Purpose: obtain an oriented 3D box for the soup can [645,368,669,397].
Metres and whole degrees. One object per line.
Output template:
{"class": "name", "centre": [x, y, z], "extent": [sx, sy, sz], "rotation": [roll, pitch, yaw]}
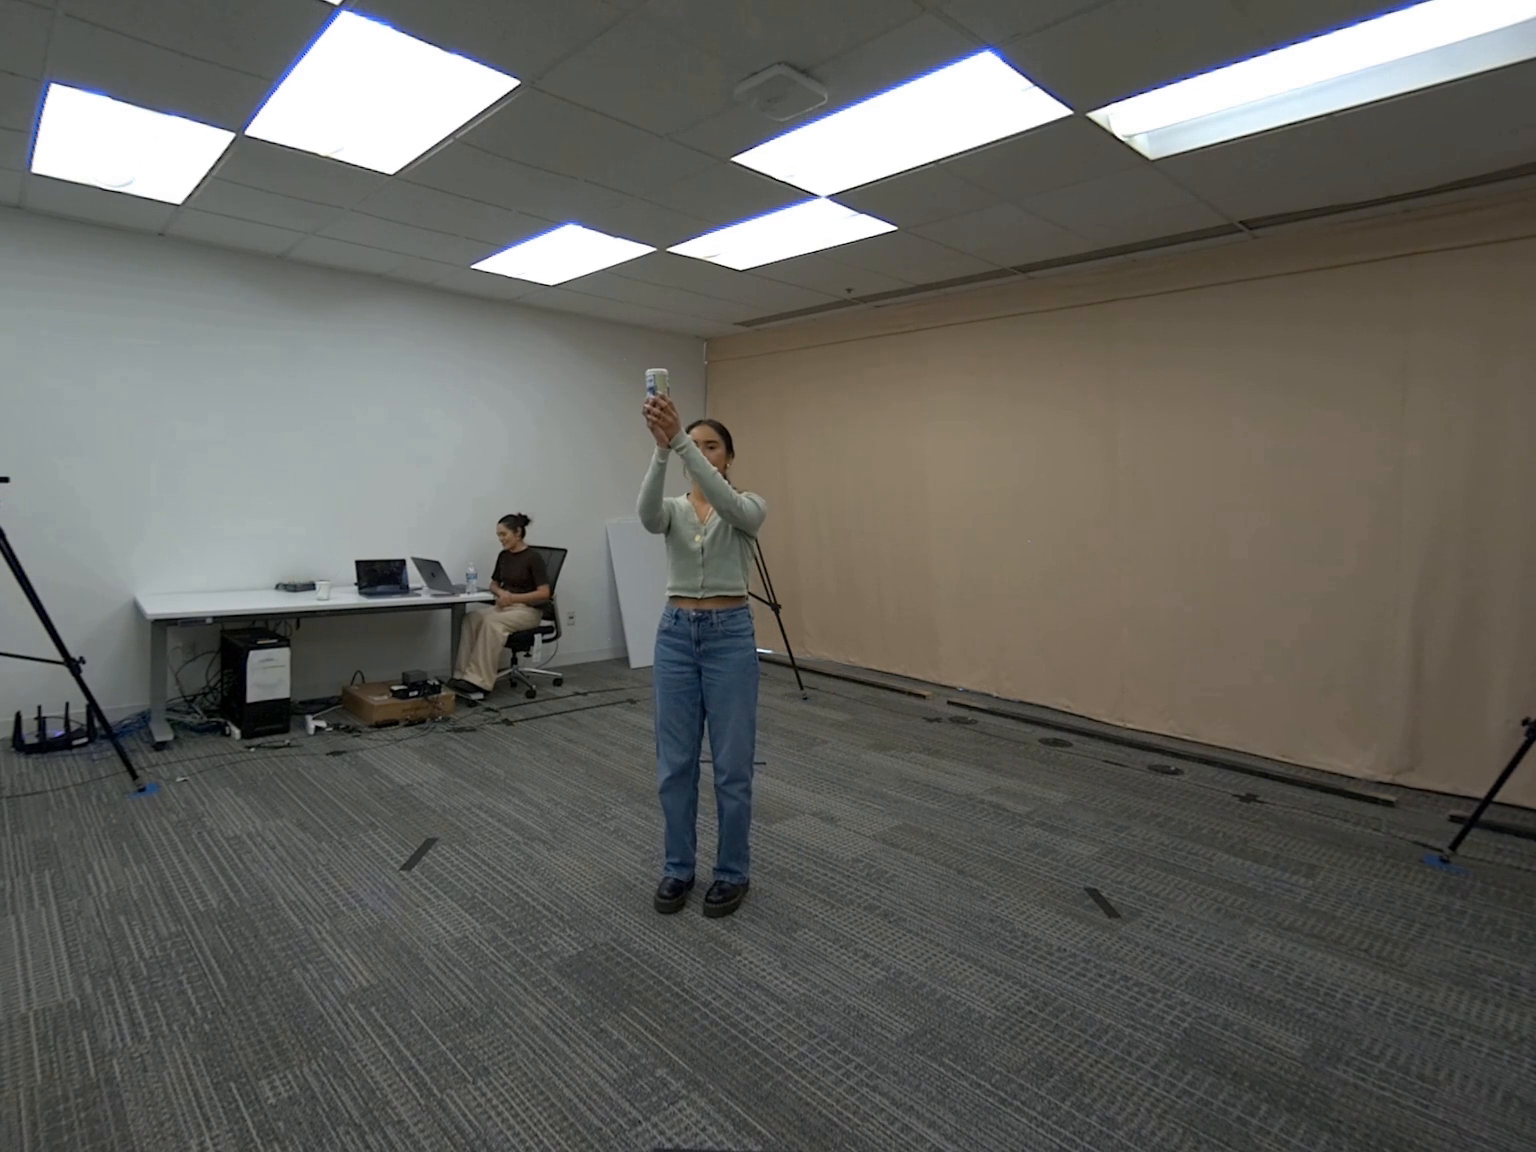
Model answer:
{"class": "soup can", "centre": [-0.330, -0.558, 2.537], "extent": [0.067, 0.121, 0.067], "rotation": [-2, 3, -1]}
